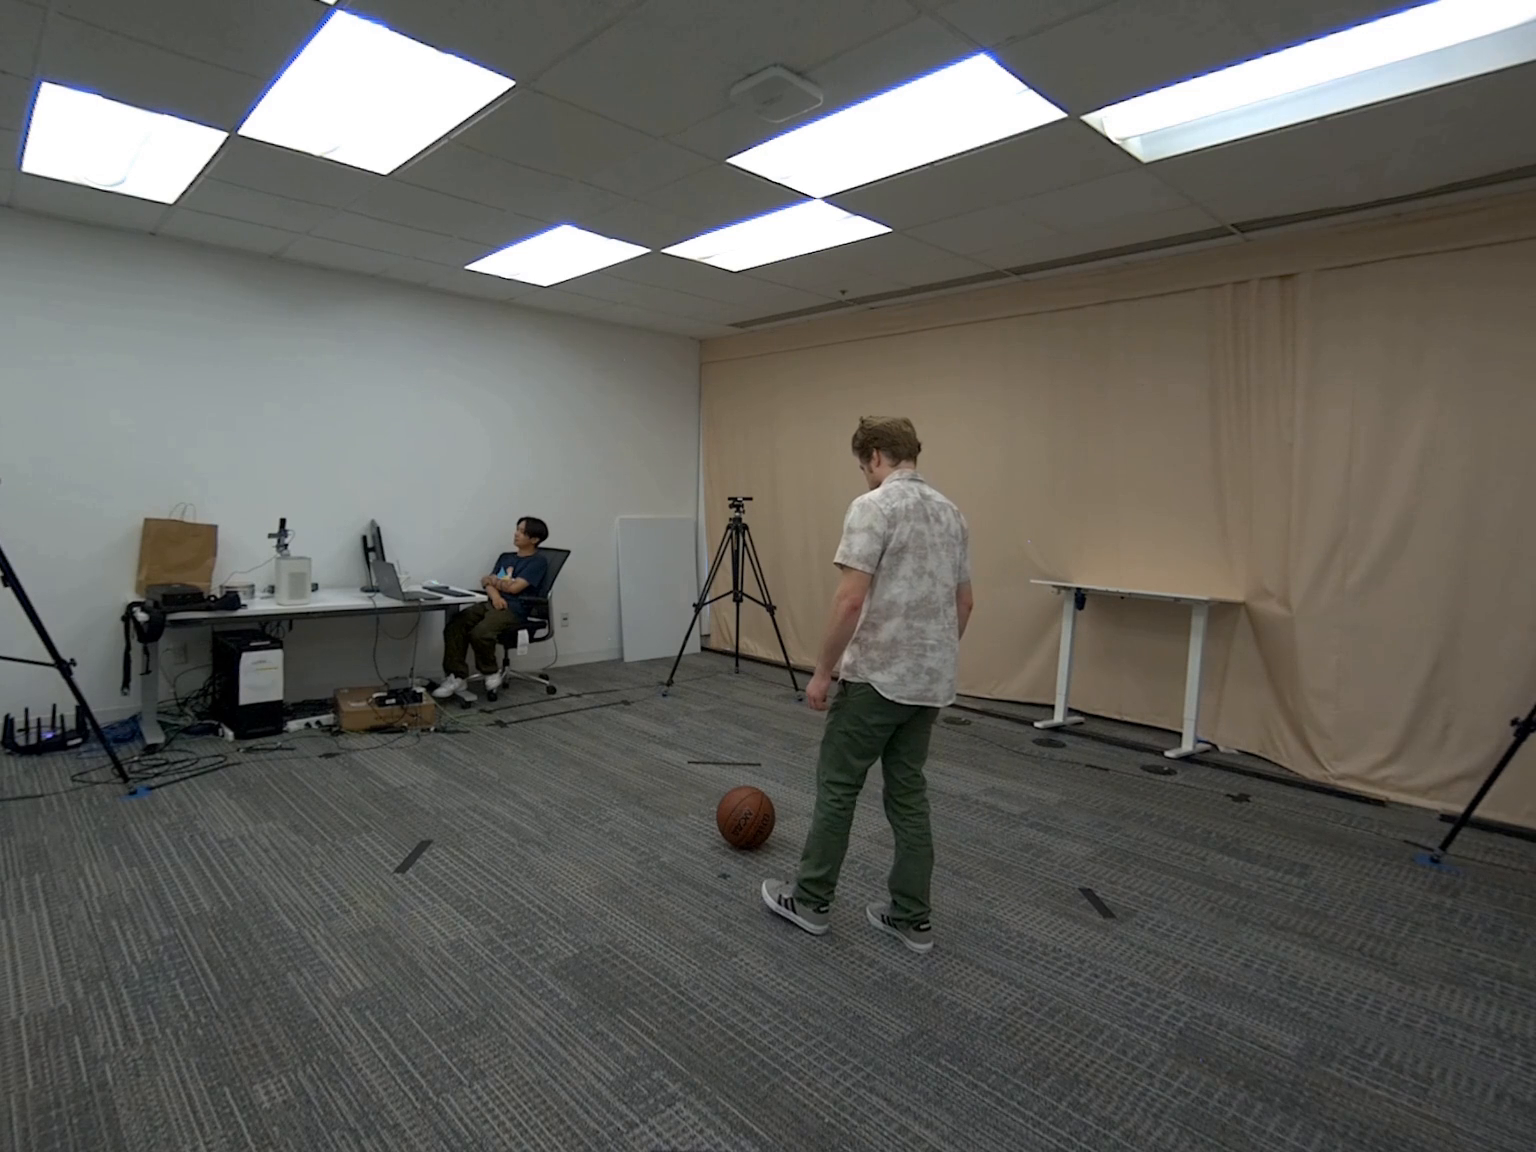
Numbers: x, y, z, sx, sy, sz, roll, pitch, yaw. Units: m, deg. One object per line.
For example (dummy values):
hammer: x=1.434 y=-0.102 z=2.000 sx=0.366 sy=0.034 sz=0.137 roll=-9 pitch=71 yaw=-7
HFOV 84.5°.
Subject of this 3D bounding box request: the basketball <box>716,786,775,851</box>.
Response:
basketball: x=-0.099 y=0.959 z=3.372 sx=0.236 sy=0.235 sz=0.237 roll=1 pitch=4 yaw=-1
